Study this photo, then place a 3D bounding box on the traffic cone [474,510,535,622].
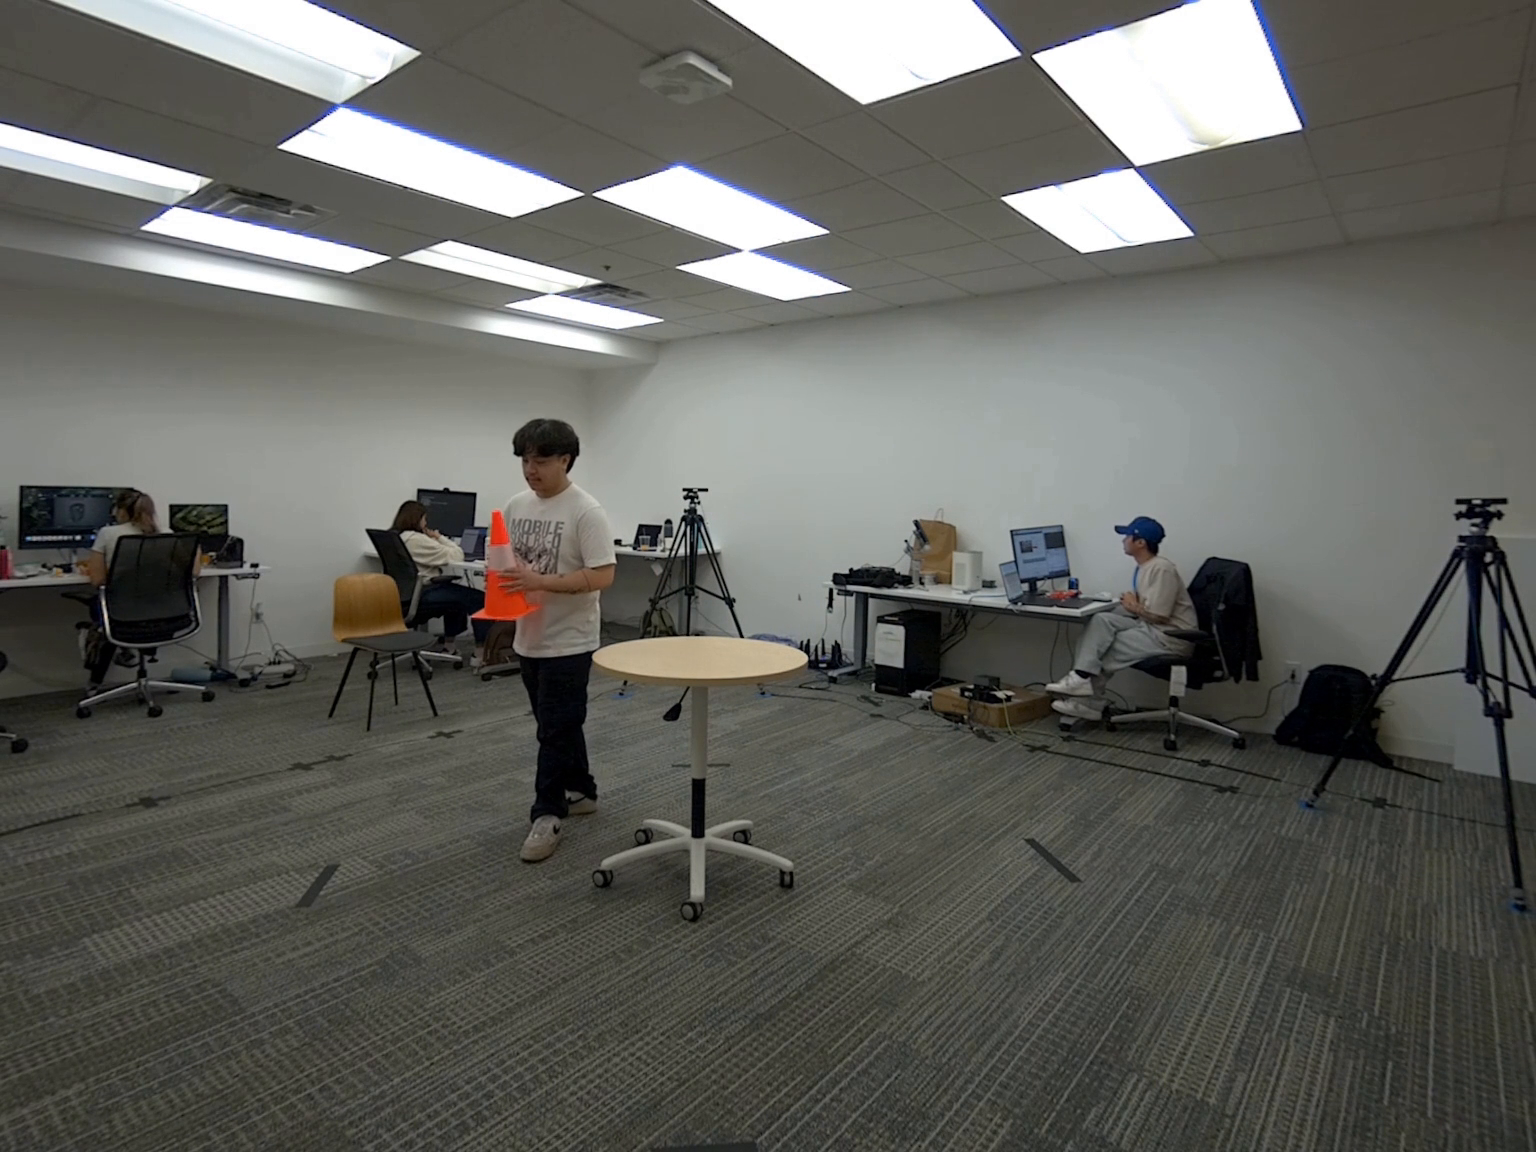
[{"bbox_3d":[-1.007,-0.053,3.125,0.209,0.379,0.202,3,13,26],"label":"traffic cone"}]
